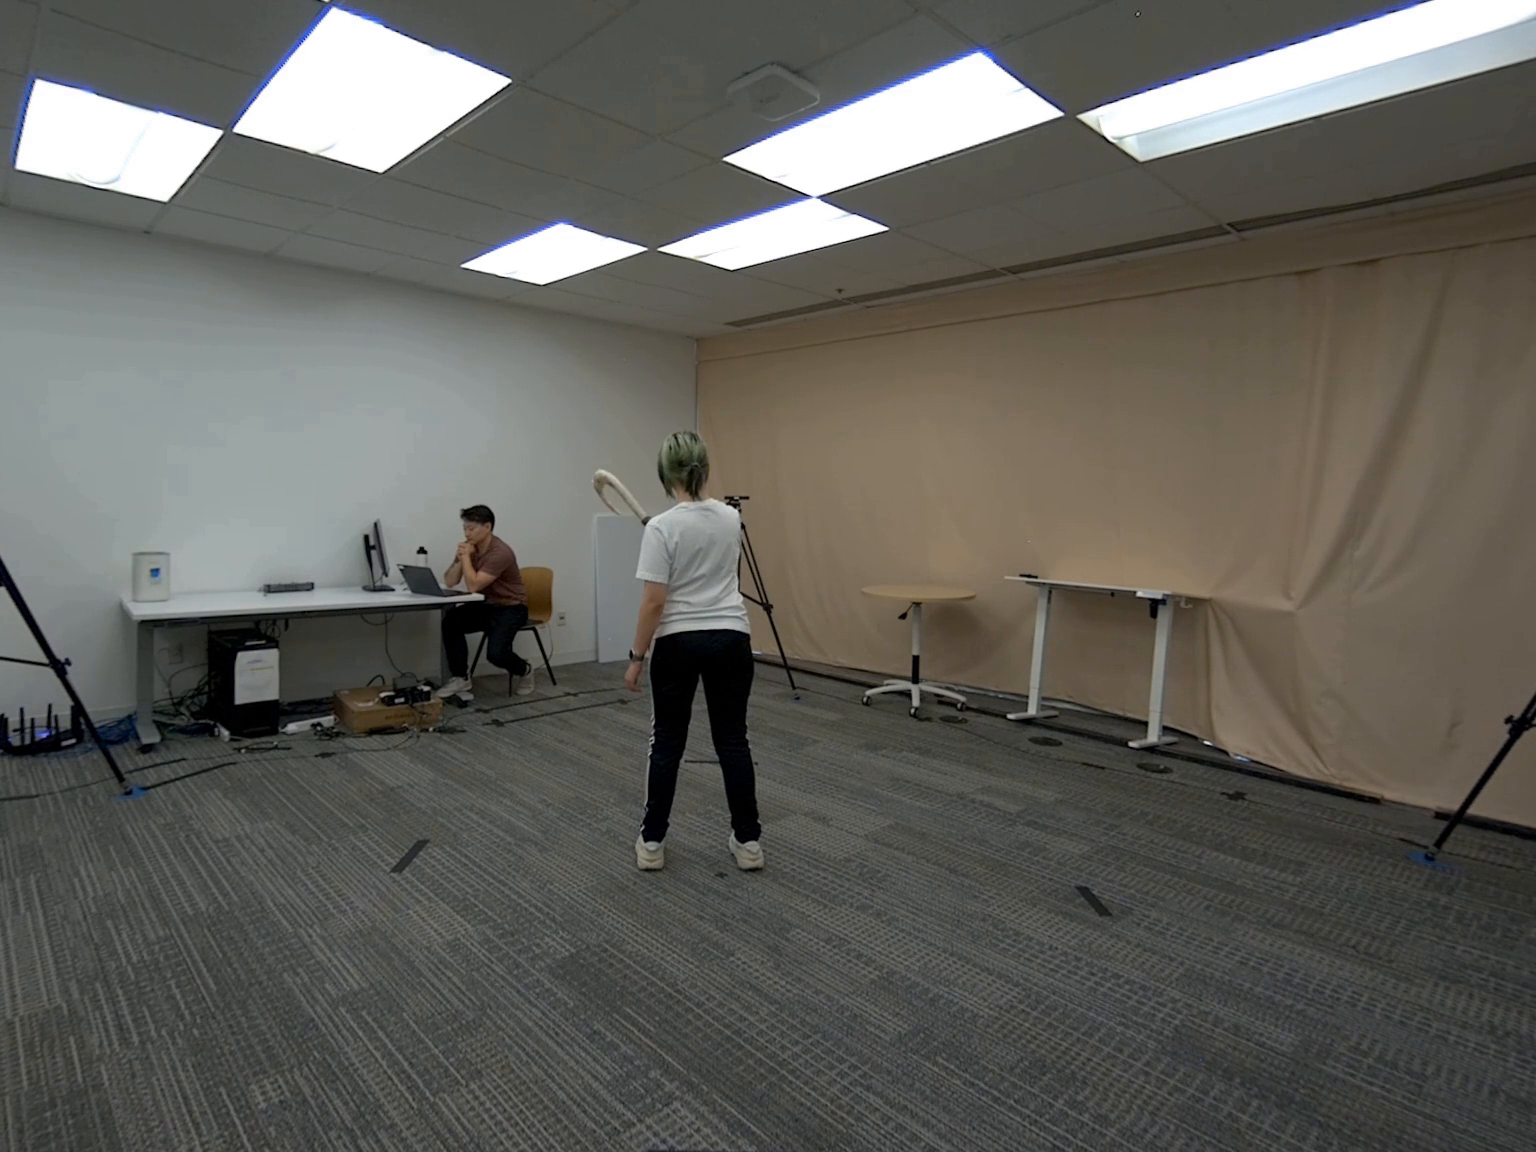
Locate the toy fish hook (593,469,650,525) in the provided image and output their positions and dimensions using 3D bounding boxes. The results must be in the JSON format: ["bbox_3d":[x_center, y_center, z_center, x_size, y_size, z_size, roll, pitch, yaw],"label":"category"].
[{"bbox_3d":[-0.594,-0.259,3.721,0.048,0.510,0.223,-41,-8,-28],"label":"toy fish hook"}]
